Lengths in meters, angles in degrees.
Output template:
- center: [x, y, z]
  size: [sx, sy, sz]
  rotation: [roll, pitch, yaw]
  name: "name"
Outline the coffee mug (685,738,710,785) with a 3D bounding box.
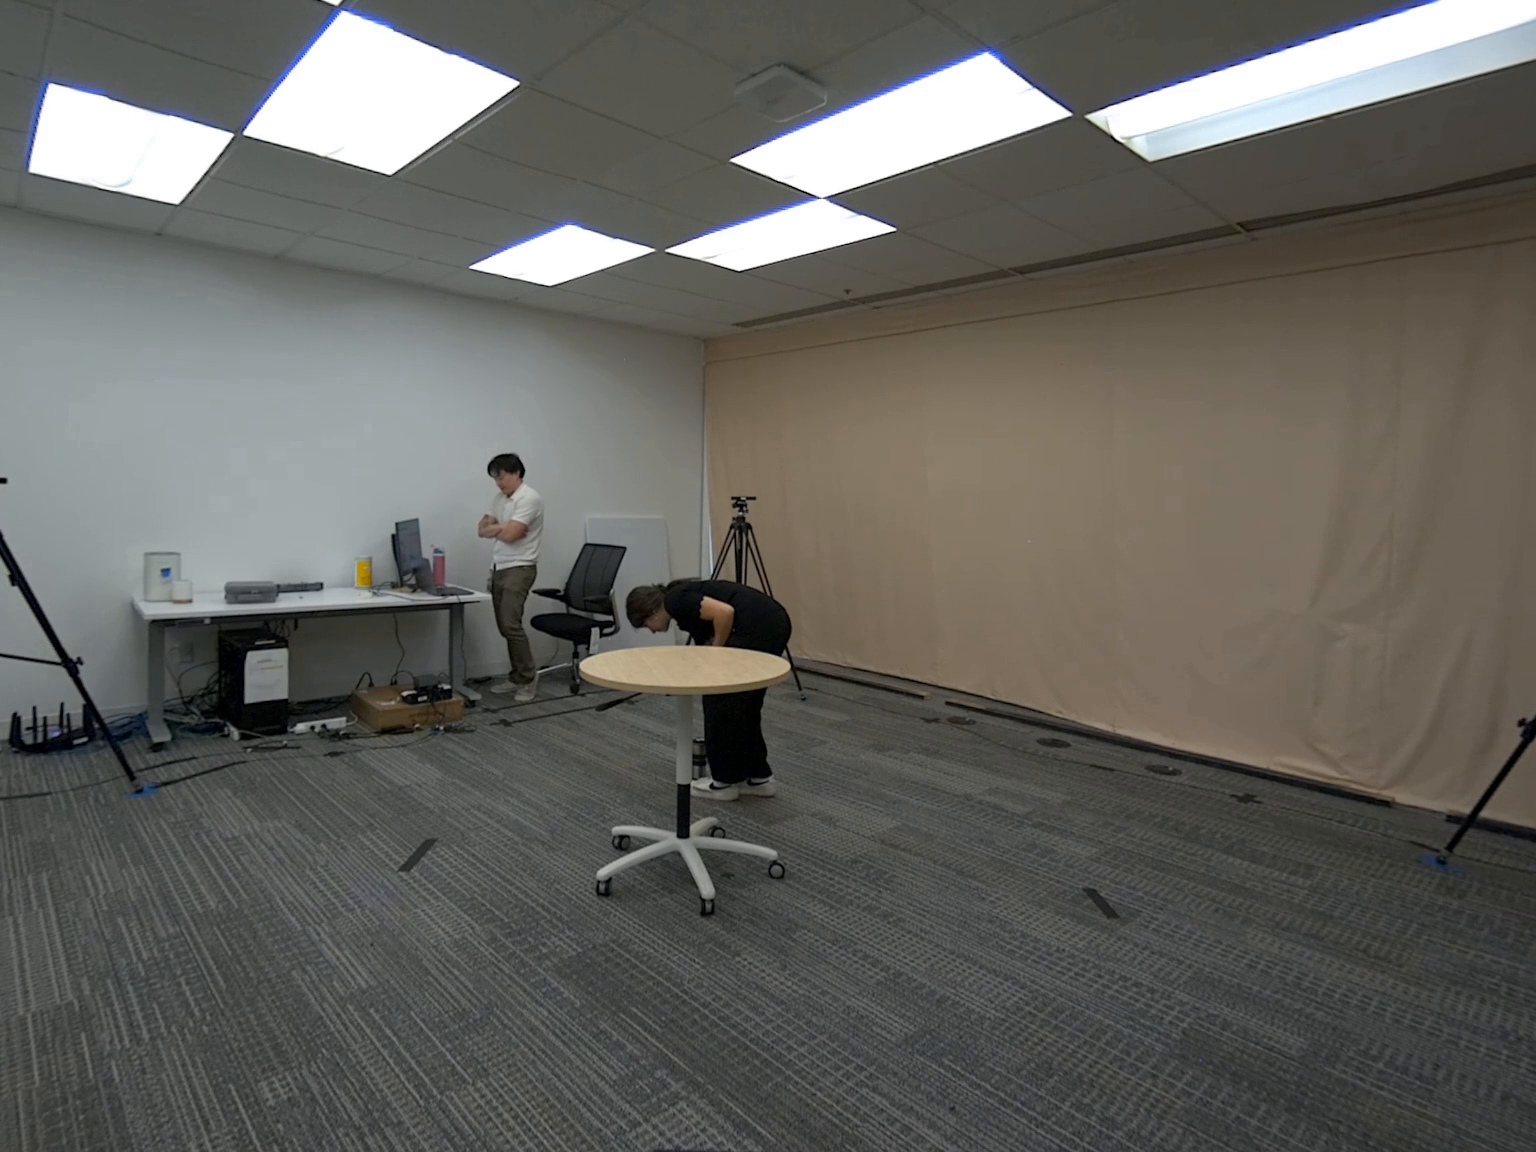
- center: [-0.335, 0.916, 4.166]
  size: [0.086, 0.203, 0.125]
  rotation: [2, -2, -44]
  name: "coffee mug"
